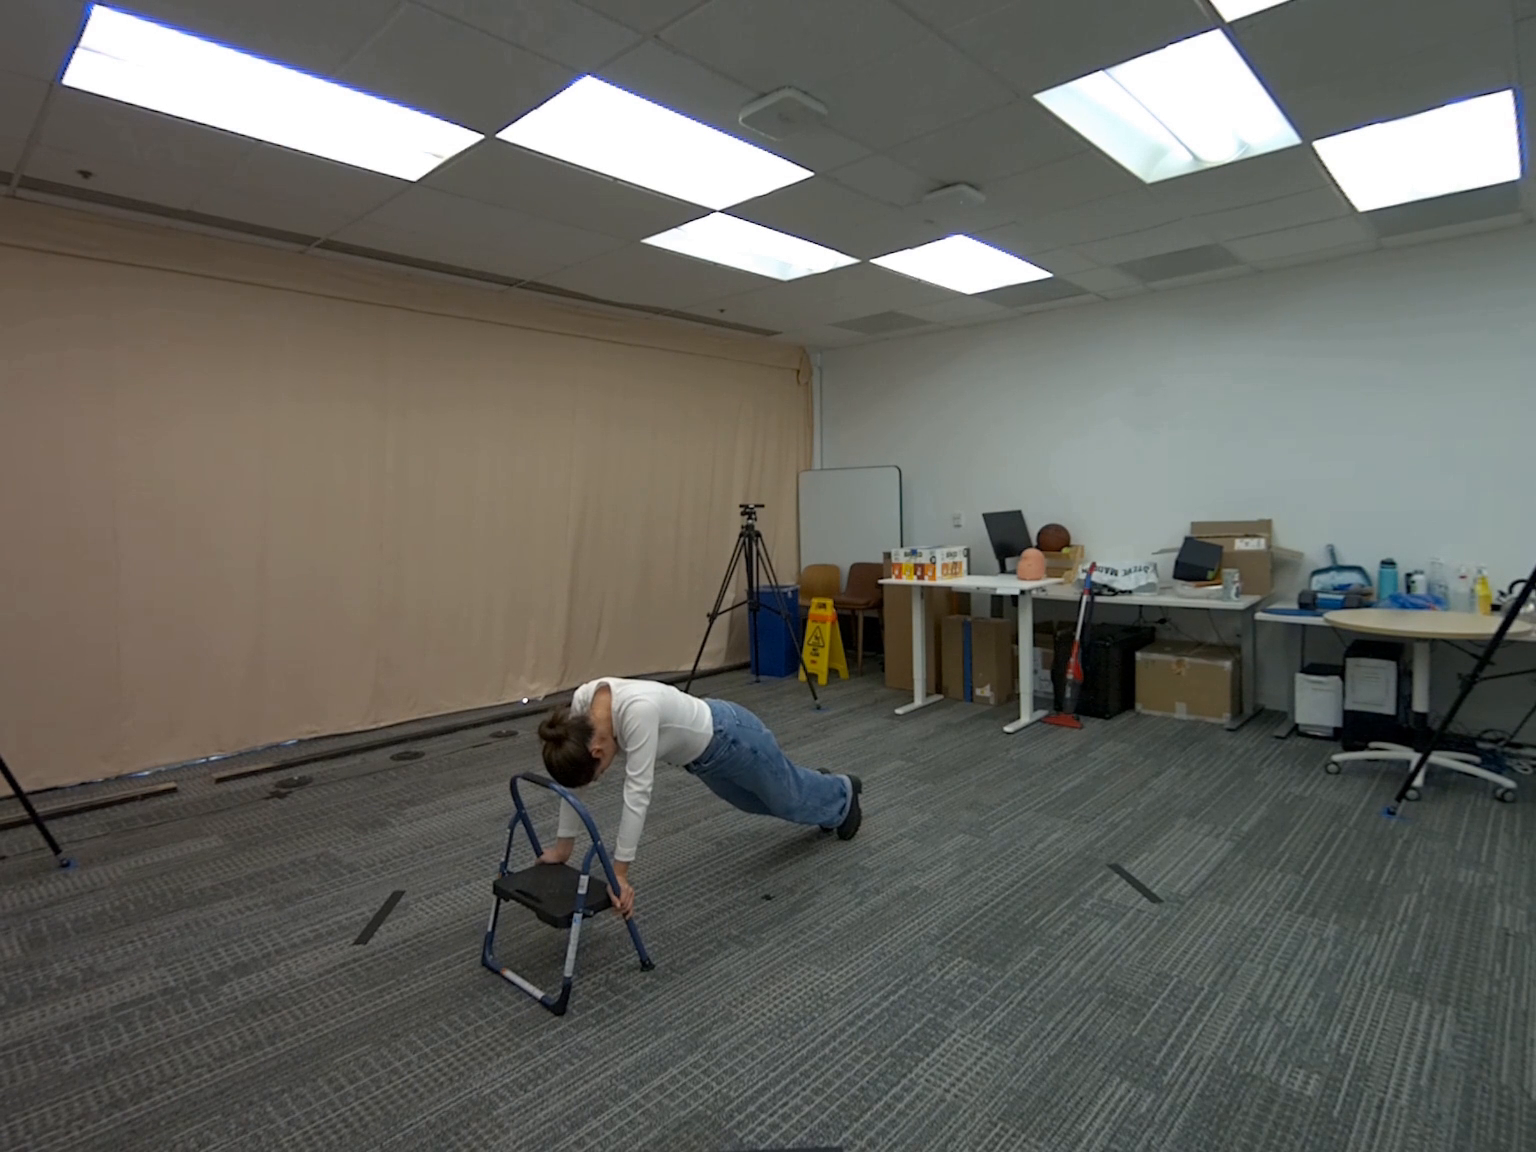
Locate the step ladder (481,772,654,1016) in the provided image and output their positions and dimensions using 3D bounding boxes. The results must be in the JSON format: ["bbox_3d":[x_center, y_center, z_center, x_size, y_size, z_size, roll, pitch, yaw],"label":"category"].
[{"bbox_3d":[-0.623,0.892,2.547,0.445,0.605,0.339,2,4,41],"label":"step ladder"}]
